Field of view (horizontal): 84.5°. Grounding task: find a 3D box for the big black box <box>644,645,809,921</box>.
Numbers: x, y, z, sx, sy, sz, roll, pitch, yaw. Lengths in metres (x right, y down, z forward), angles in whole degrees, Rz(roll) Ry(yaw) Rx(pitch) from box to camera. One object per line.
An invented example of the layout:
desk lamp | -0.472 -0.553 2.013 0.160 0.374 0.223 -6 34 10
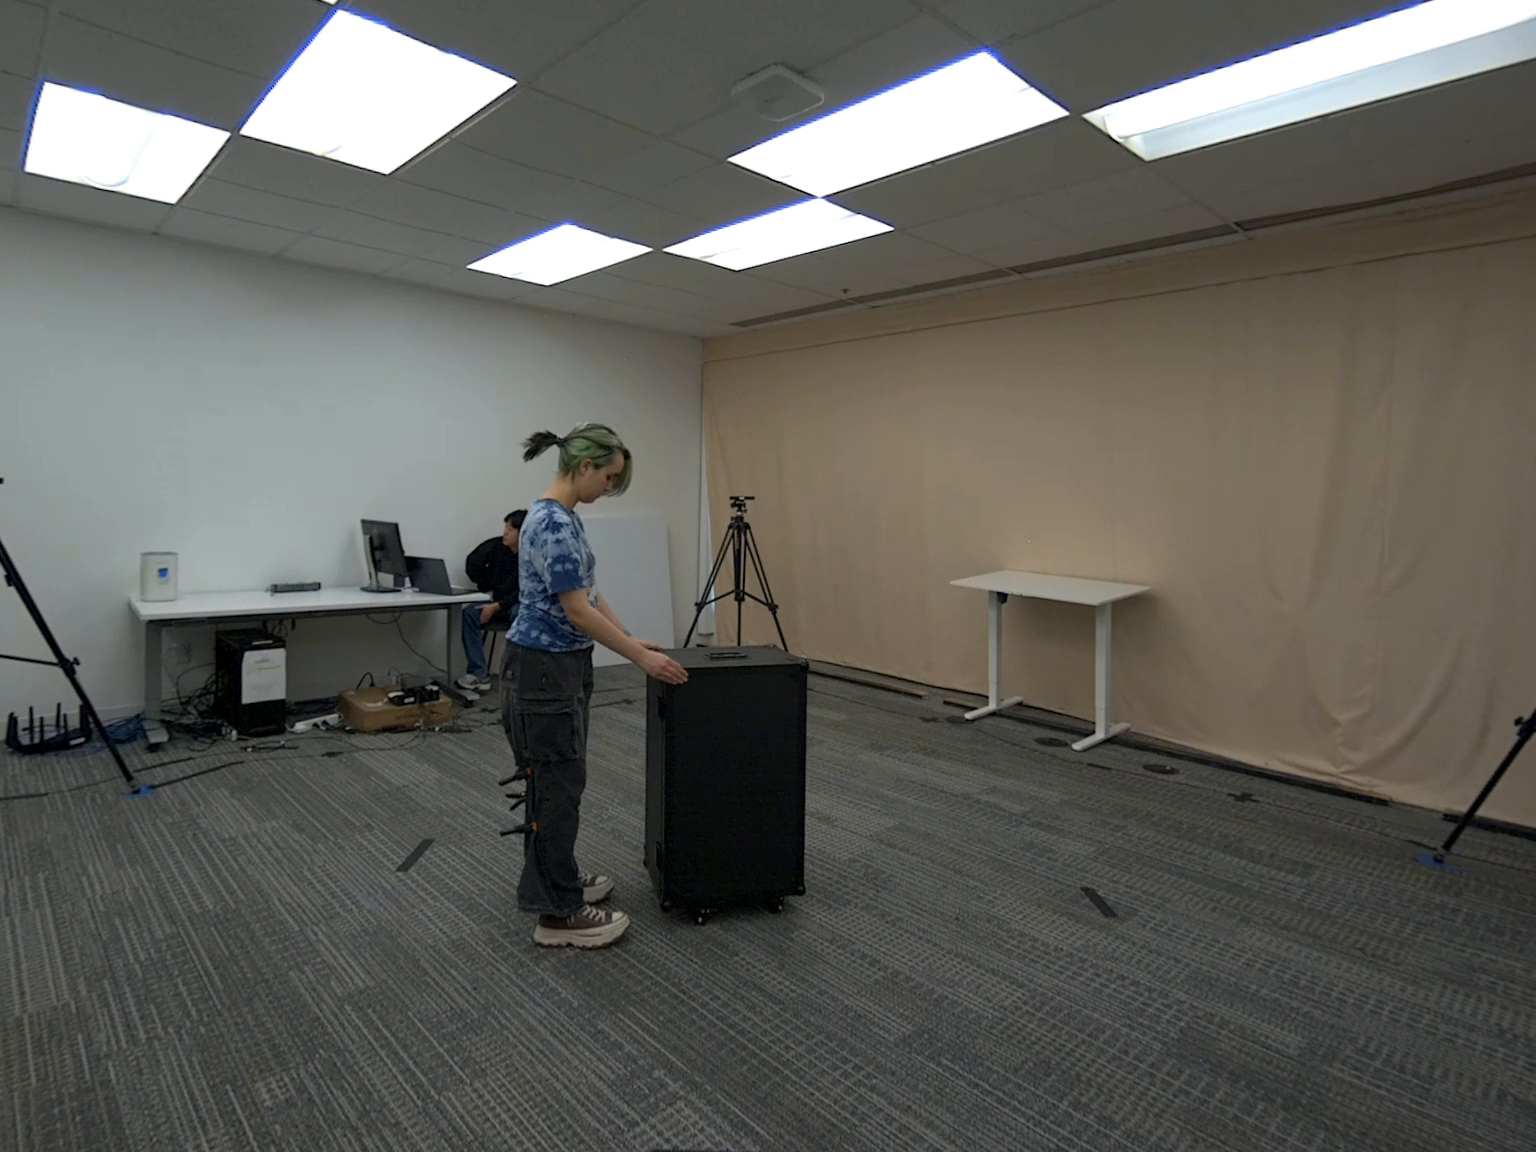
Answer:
big black box | -0.171 0.700 2.901 0.514 0.860 0.402 0 2 -17
